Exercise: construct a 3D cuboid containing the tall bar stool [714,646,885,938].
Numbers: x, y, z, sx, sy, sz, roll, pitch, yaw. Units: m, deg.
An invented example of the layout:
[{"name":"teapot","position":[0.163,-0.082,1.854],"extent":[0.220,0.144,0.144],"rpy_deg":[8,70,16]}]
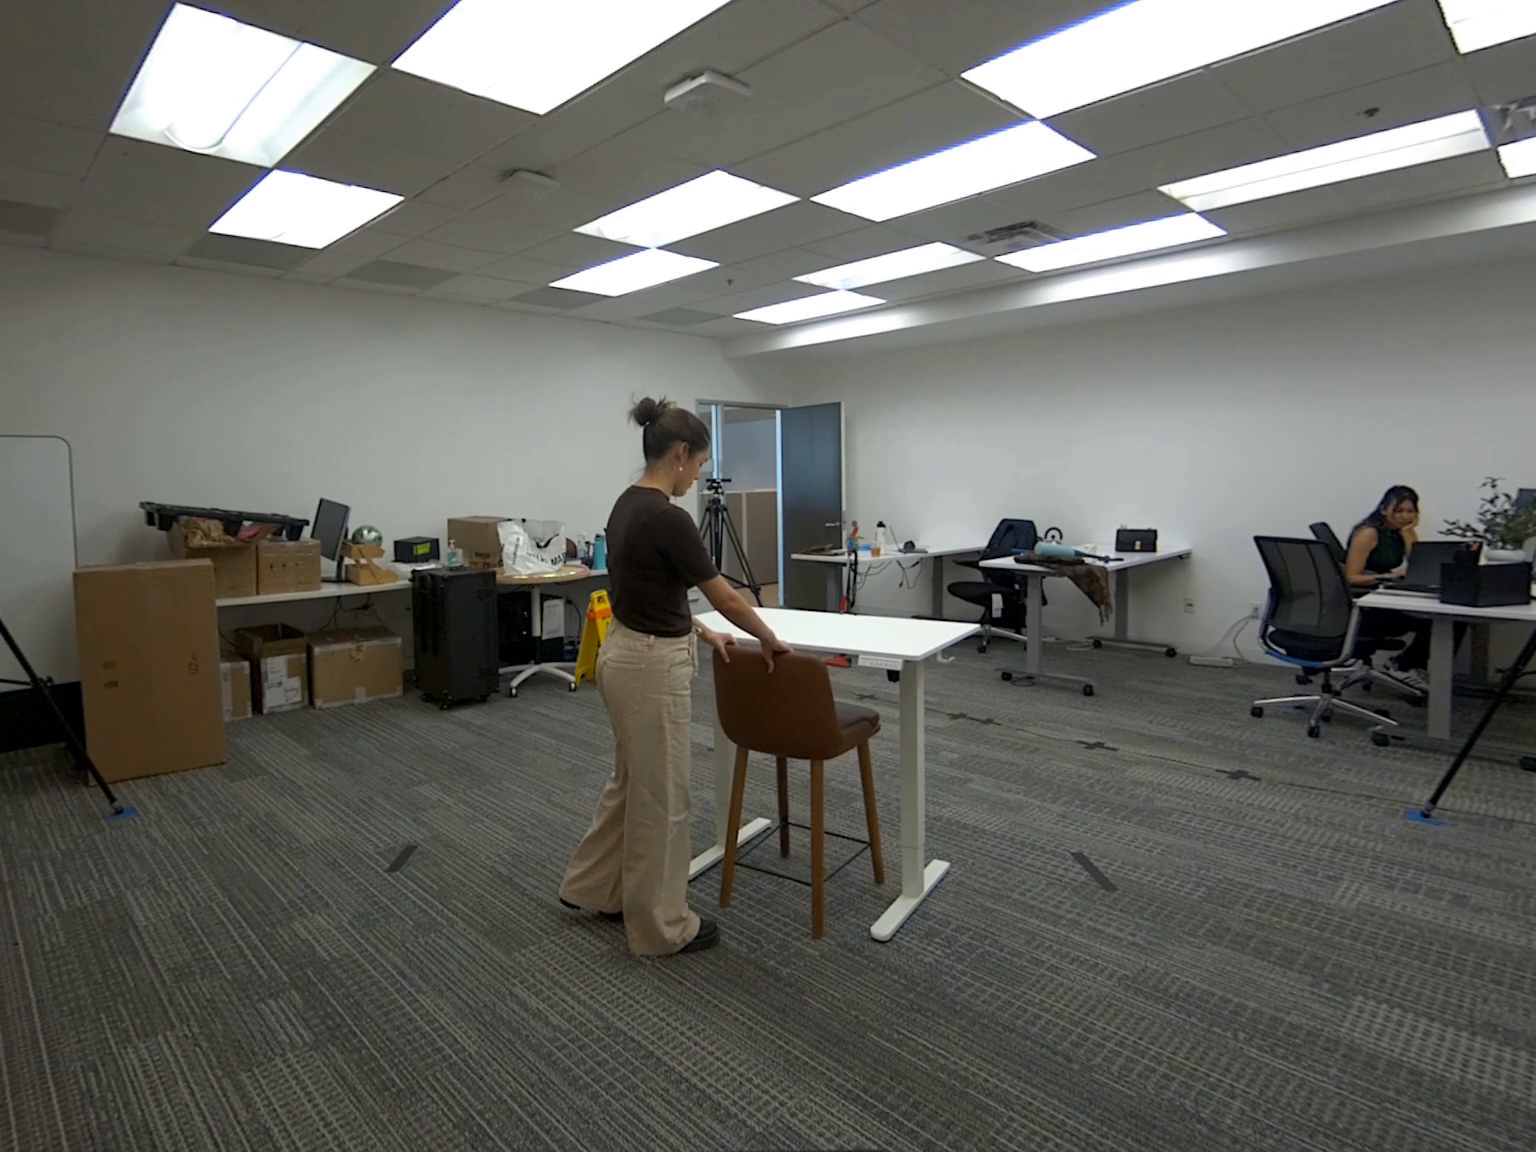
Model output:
[{"name":"tall bar stool","position":[0.105,0.640,2.835],"extent":[0.469,0.885,0.457],"rpy_deg":[2,7,33]}]
